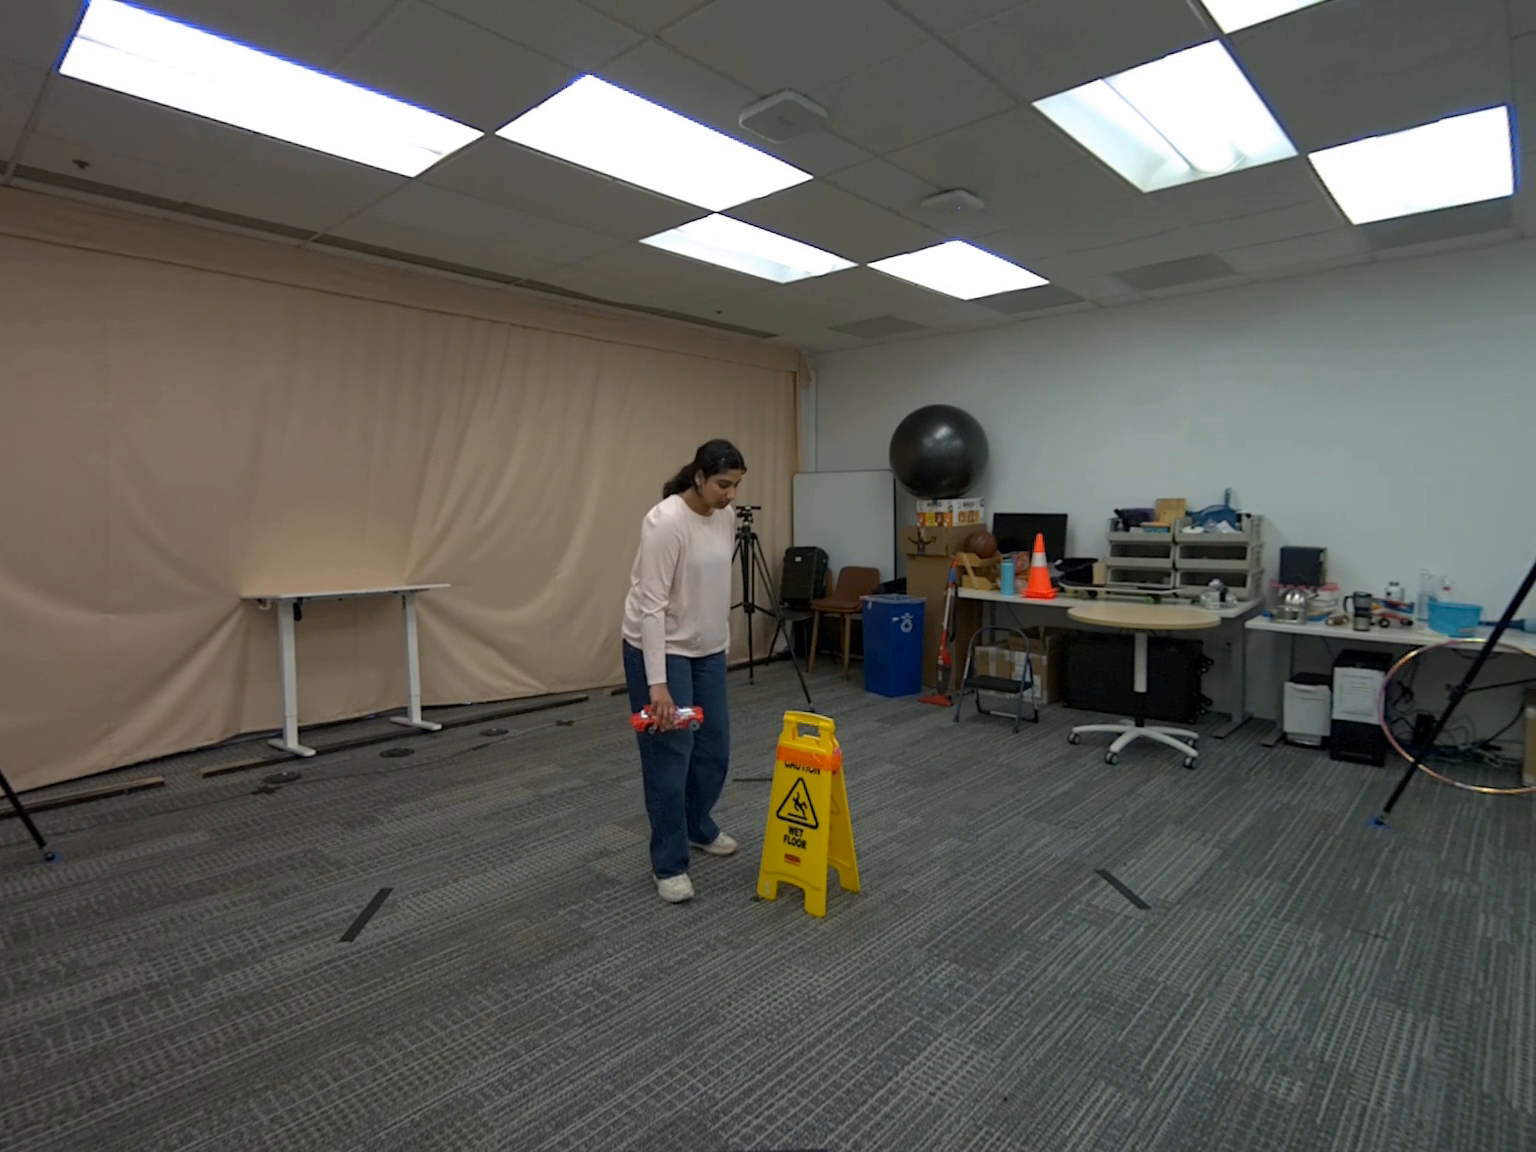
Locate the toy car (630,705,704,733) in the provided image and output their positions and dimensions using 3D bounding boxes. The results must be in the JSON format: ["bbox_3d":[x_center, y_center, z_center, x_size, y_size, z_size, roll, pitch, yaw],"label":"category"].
[{"bbox_3d":[-0.357,0.498,2.927,0.253,0.083,0.132,2,12,-6],"label":"toy car"}]
